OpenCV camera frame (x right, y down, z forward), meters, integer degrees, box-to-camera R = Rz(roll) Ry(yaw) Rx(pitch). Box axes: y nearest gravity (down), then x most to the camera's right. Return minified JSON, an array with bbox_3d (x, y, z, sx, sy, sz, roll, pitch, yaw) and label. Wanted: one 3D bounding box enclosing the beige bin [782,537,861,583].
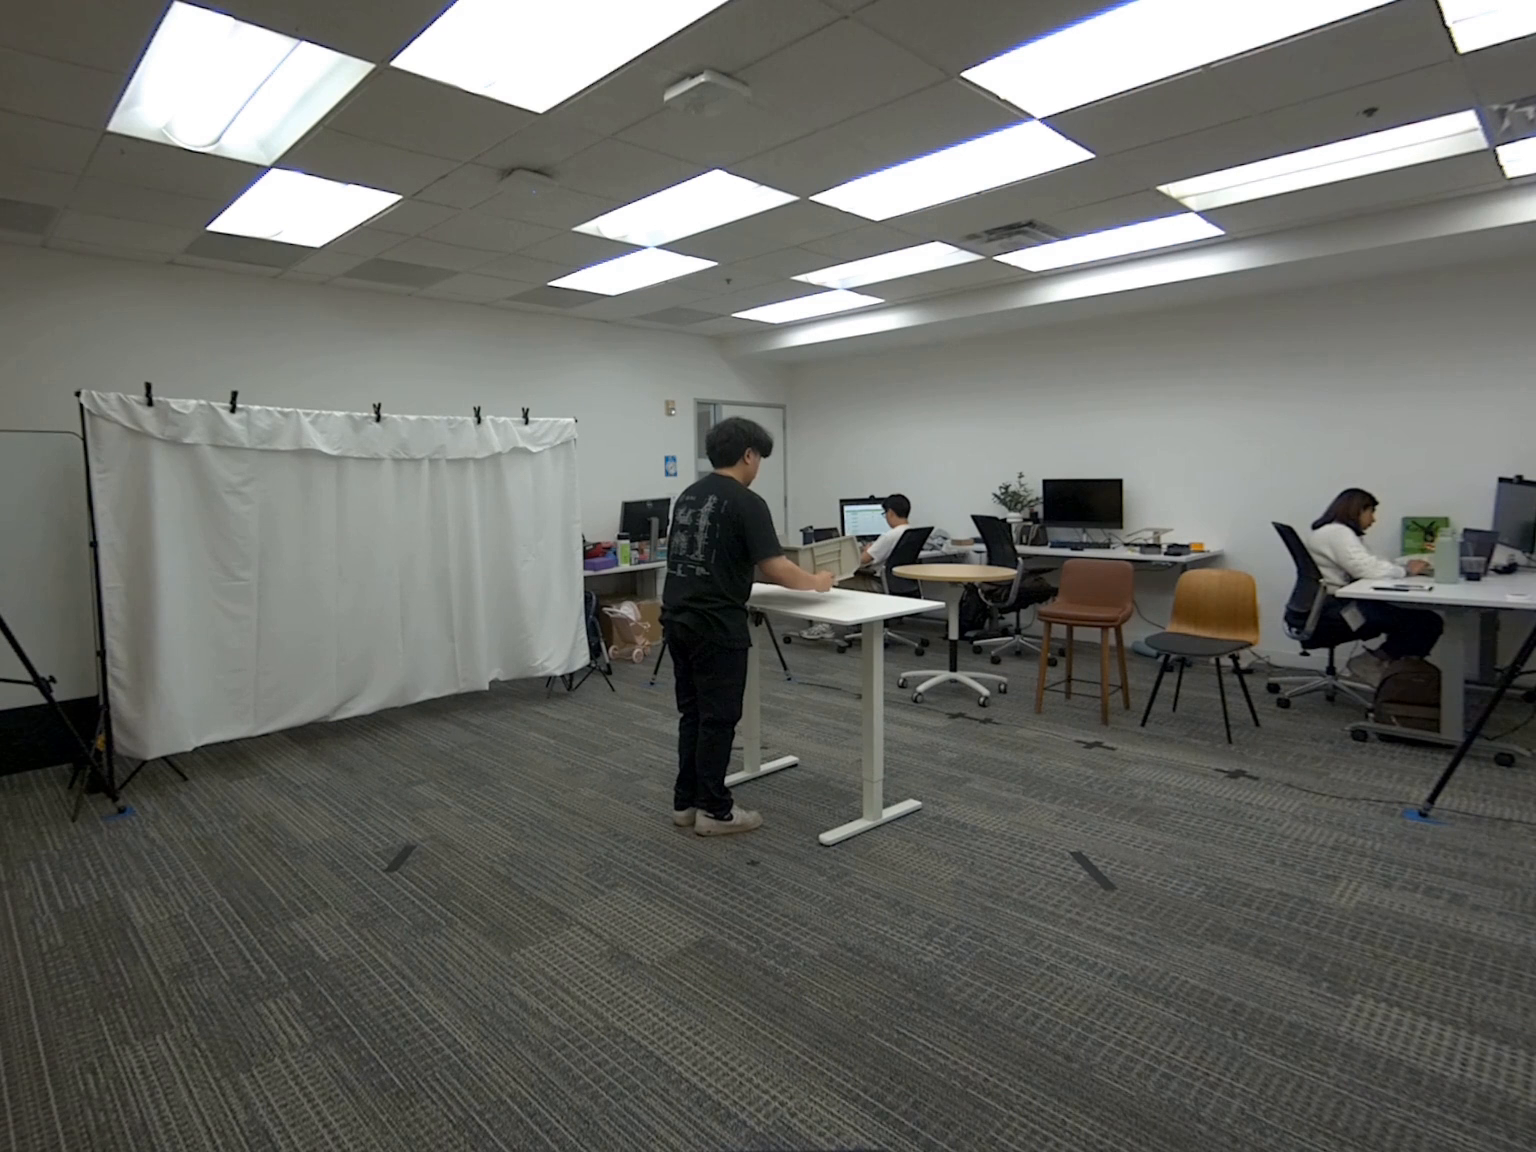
[{"bbox_3d":[0.118,-0.077,3.670,0.369,0.187,0.435,-16,14,-41],"label":"beige bin"}]
